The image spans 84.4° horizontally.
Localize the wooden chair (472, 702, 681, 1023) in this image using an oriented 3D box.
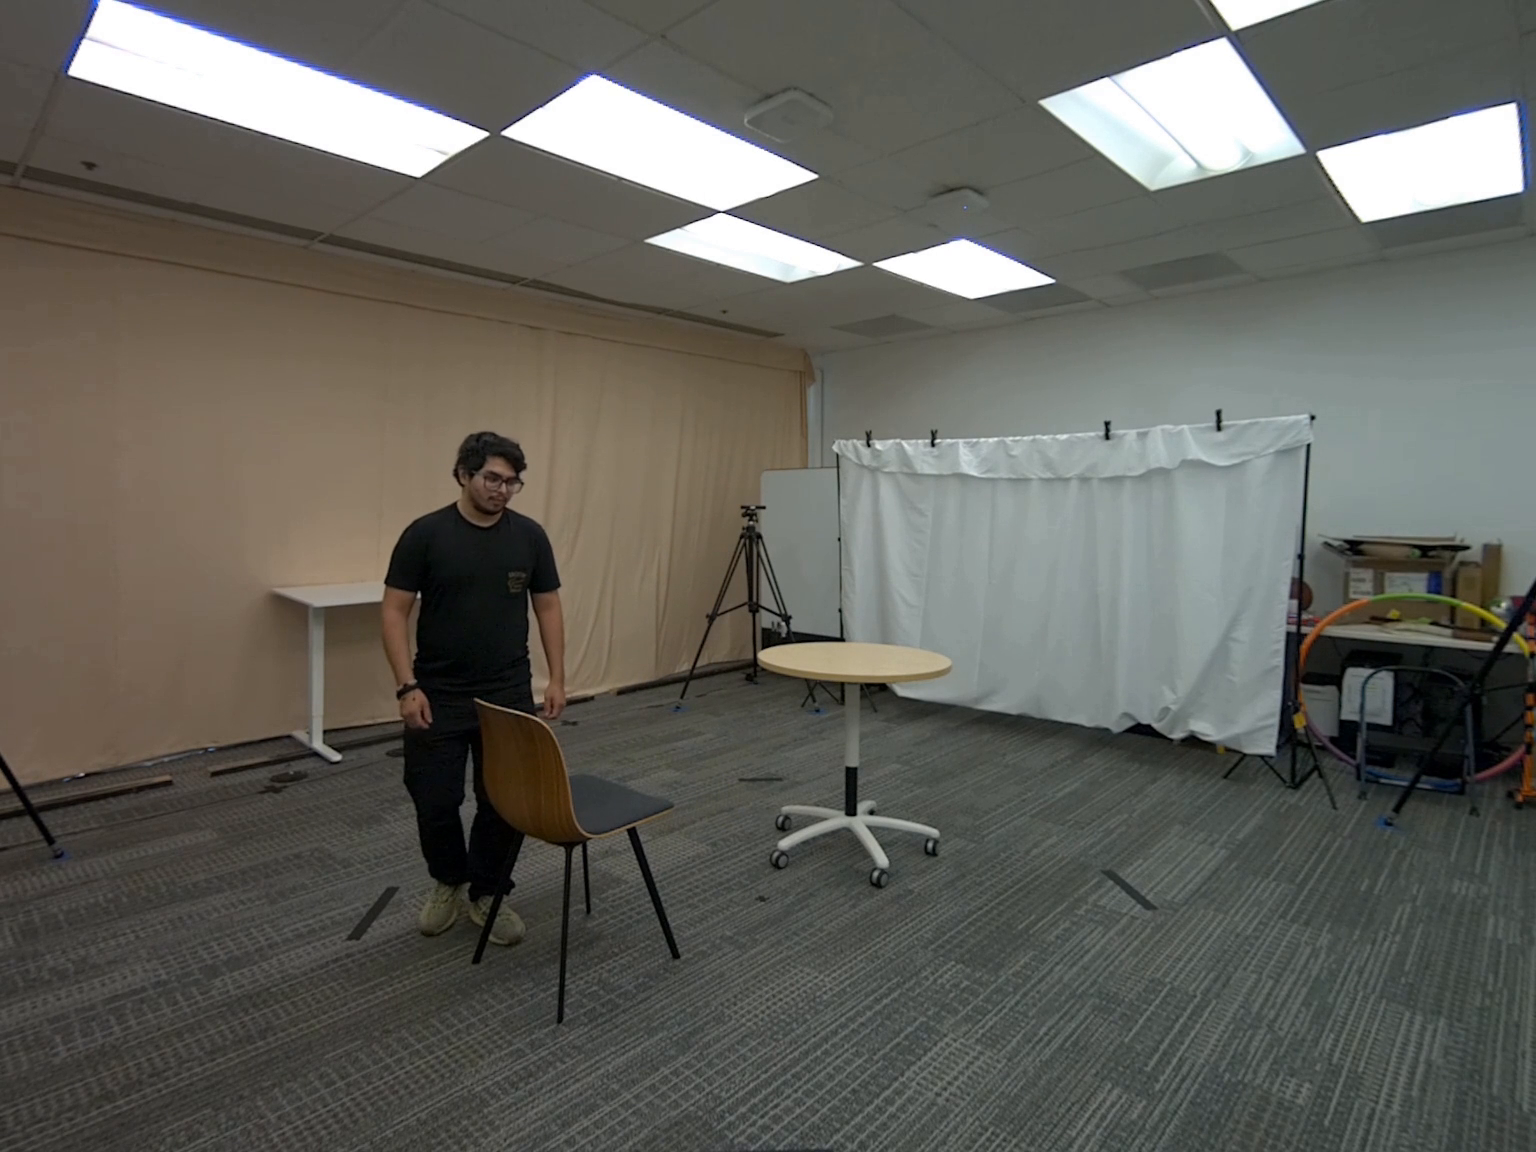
[{"bbox_3d":[-0.576,0.756,2.556,0.494,0.874,0.508,2,8,42],"label":"wooden chair"}]
